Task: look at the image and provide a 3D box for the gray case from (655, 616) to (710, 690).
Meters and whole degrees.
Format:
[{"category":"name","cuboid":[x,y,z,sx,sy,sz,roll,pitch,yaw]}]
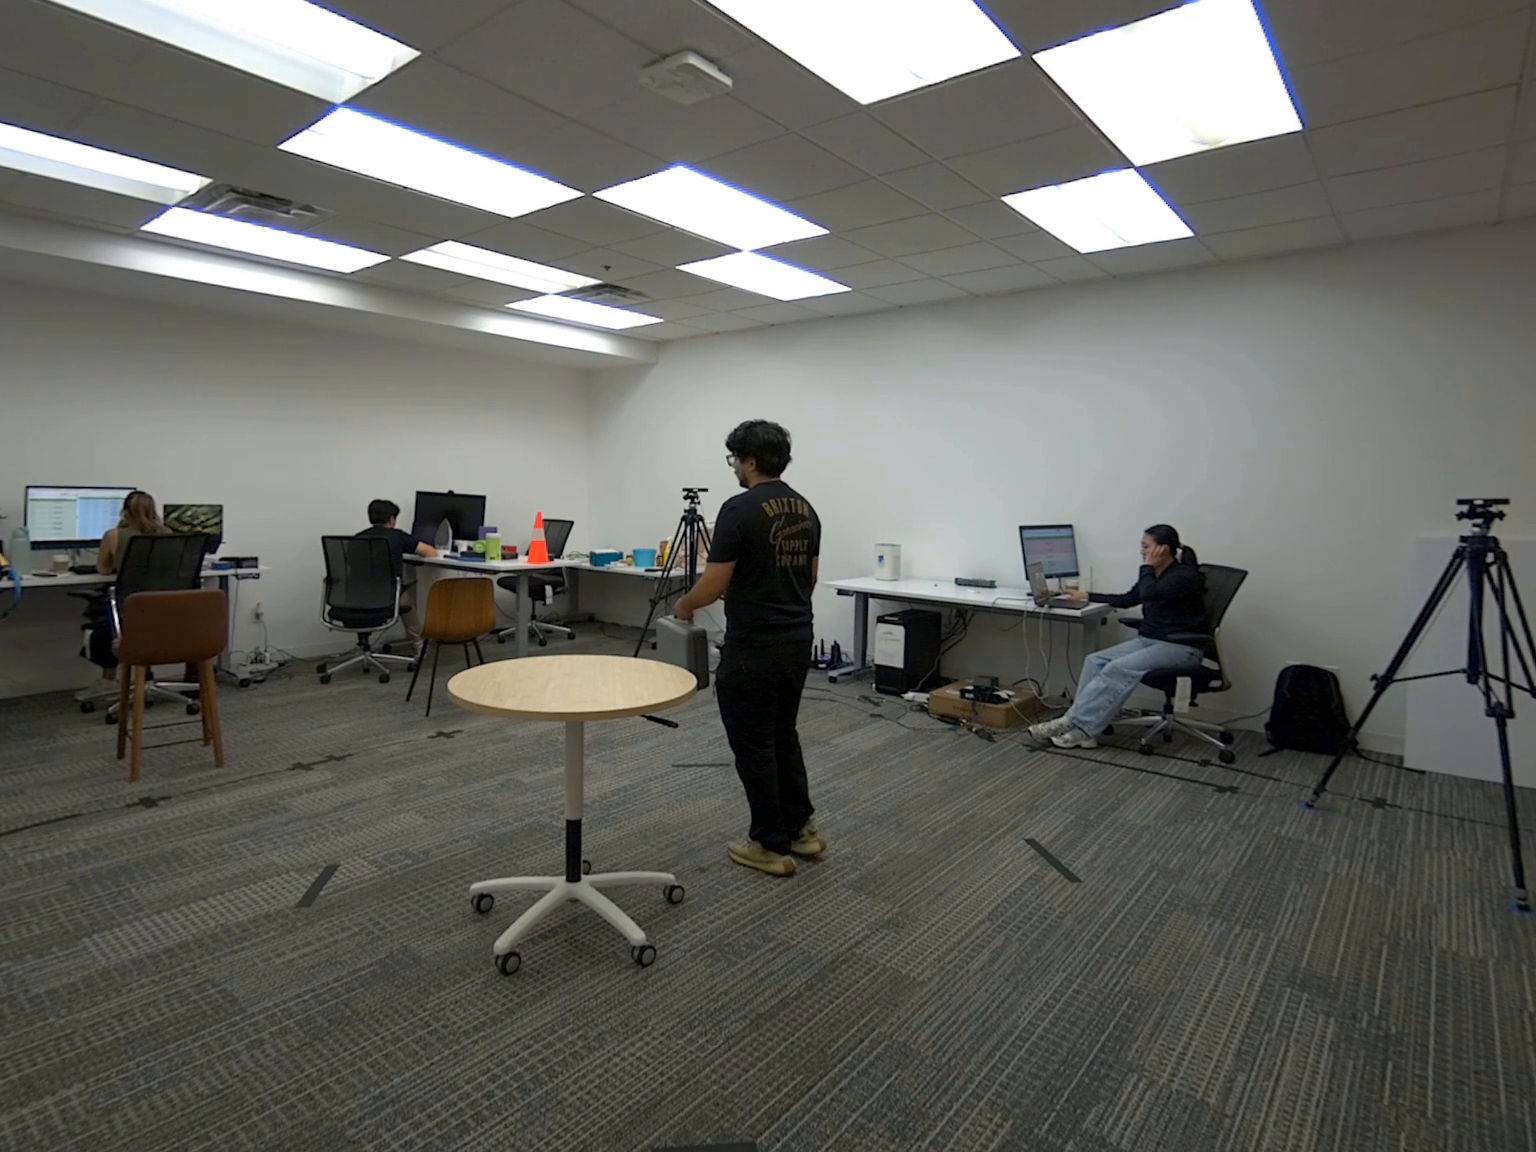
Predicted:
[{"category":"gray case","cuboid":[-0.344,0.287,3.308,0.102,0.258,0.266,-9,14,-33]}]
